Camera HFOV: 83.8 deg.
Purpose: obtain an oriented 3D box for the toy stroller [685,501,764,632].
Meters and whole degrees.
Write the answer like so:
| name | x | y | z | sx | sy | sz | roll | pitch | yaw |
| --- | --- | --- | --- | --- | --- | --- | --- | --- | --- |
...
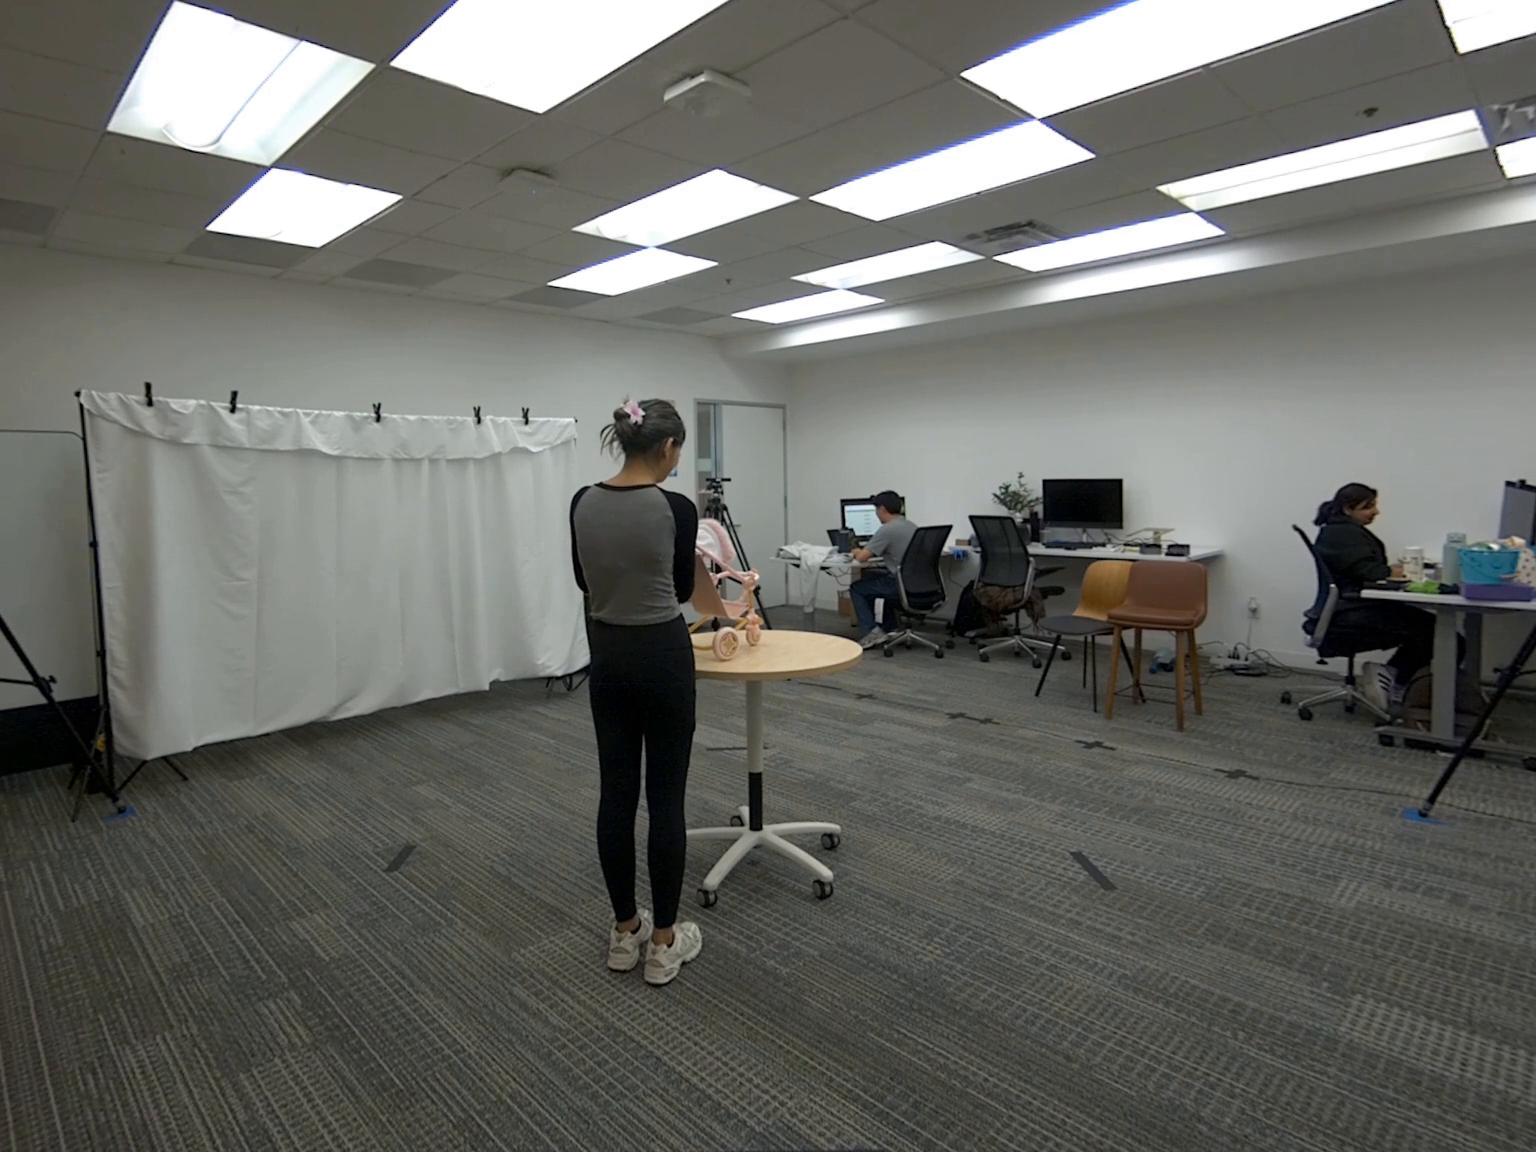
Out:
| name | x | y | z | sx | sy | sz | roll | pitch | yaw |
| --- | --- | --- | --- | --- | --- | --- | --- | --- | --- |
| toy stroller | -0.180 | 0.042 | 2.952 | 0.336 | 0.527 | 0.290 | -24 | 18 | -38 |
